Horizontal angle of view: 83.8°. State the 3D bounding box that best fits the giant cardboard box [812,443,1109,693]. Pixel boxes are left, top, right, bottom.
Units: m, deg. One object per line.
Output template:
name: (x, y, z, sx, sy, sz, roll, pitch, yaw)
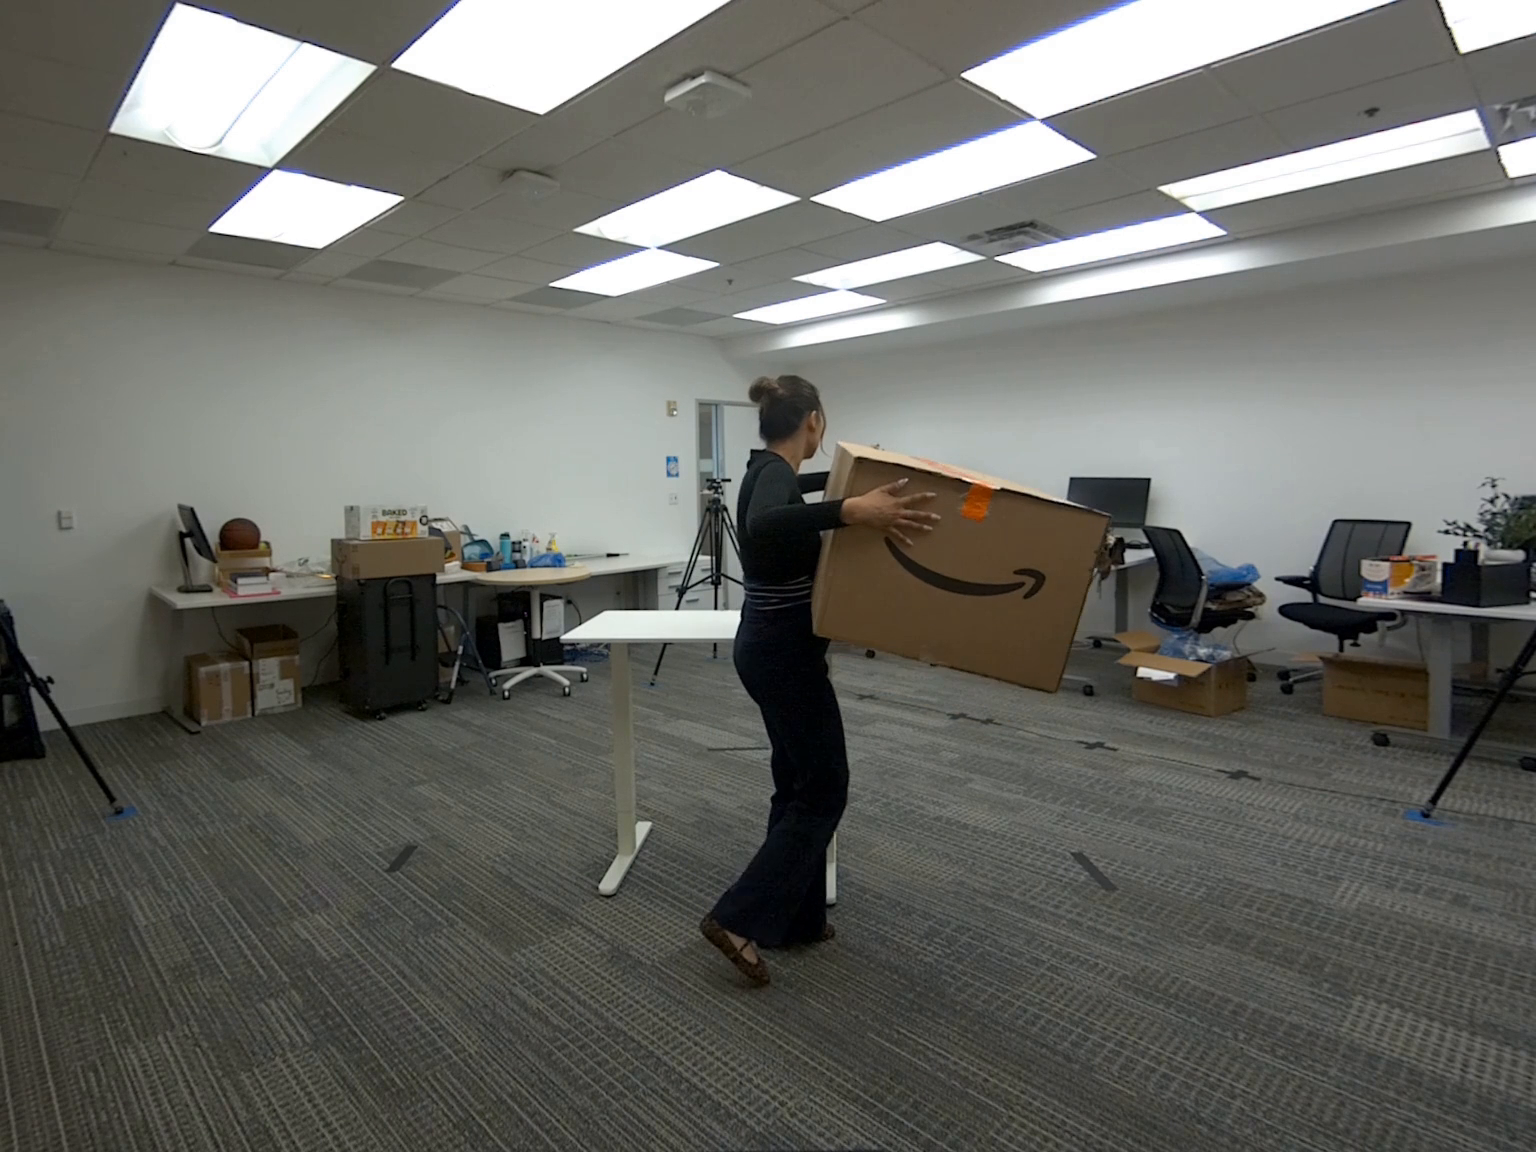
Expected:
giant cardboard box: (0.453, -0.103, 2.412, 0.579, 0.423, 1.029, 13, 10, 1)
